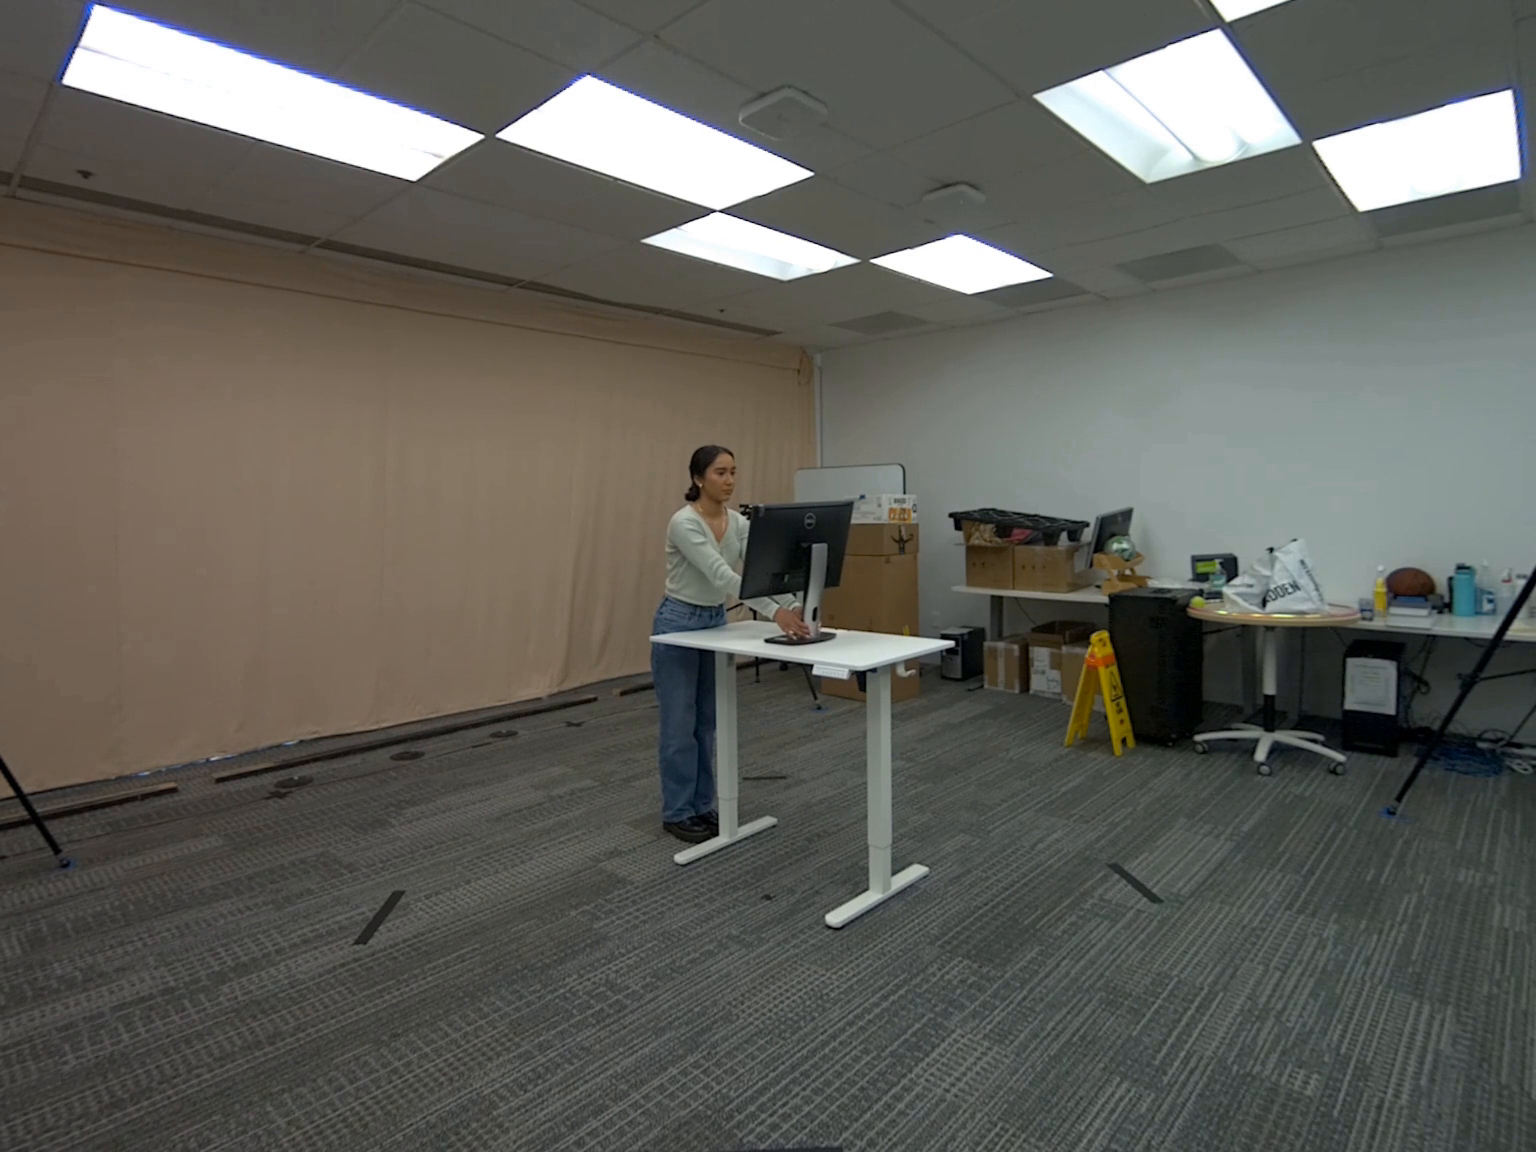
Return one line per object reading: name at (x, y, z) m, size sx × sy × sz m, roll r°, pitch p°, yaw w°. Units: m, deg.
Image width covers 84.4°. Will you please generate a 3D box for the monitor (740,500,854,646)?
monitor at (0.137, -0.010, 3.126) m, size 0.523 × 0.521 × 0.193 m, roll -5°, pitch 6°, yaw -44°
